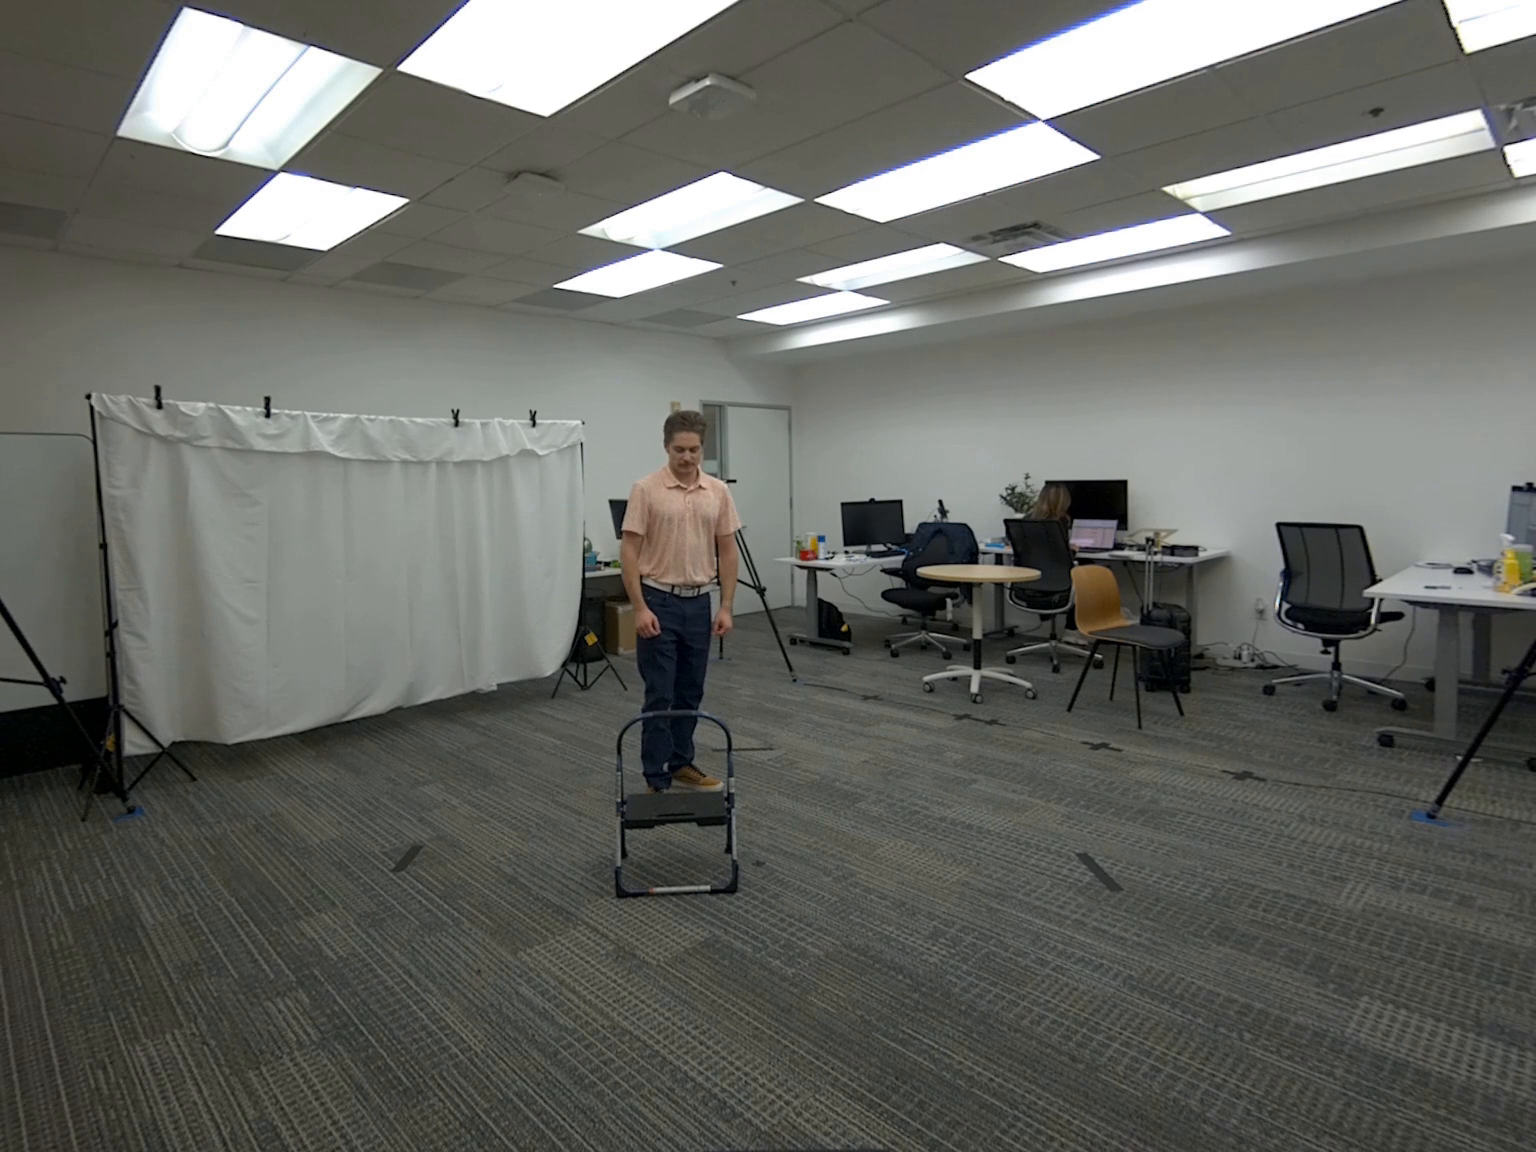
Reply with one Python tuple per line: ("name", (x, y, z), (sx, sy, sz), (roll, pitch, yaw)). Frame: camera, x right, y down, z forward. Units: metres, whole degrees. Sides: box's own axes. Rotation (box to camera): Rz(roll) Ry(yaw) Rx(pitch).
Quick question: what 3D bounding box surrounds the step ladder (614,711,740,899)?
("step ladder", (-0.330, 0.764, 3.028), (0.428, 0.604, 0.352), (-2, 4, -6))
